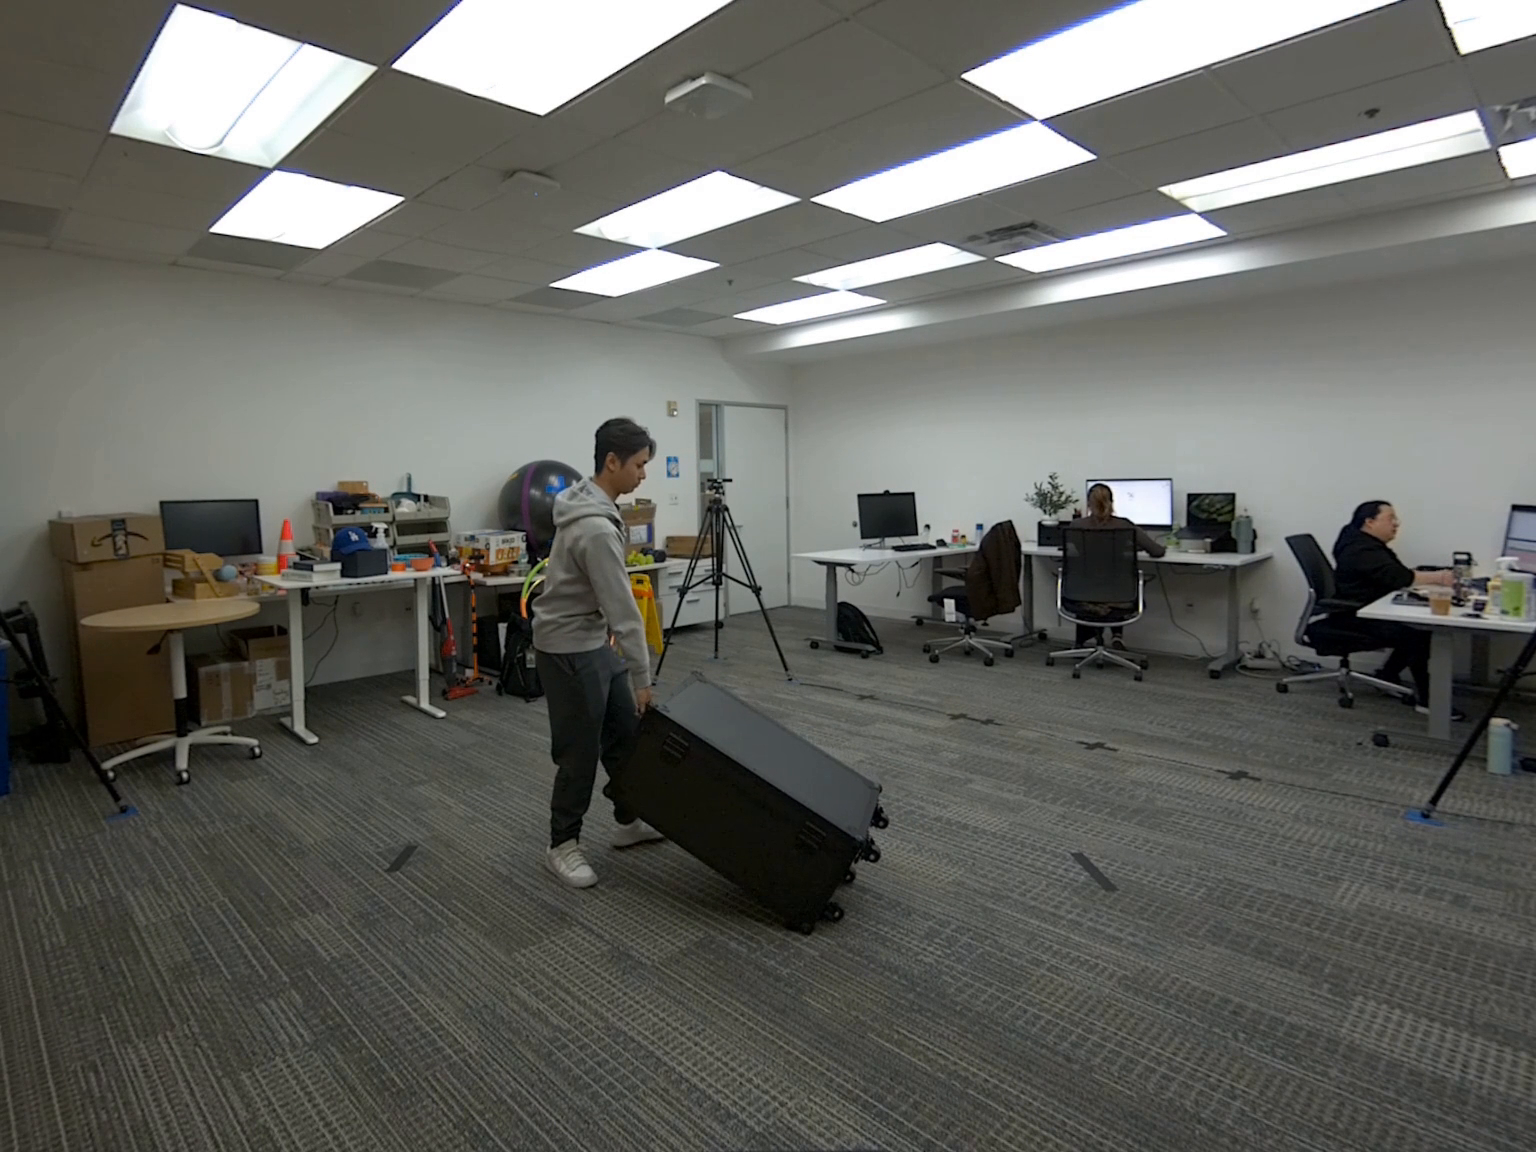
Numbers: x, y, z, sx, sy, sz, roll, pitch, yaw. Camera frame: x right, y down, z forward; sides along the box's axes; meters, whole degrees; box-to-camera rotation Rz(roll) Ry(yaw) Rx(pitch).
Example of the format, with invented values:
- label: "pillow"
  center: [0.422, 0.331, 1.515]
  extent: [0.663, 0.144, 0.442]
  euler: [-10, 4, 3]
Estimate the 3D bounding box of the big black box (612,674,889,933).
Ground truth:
- label: "big black box"
  center: [-0.049, 0.752, 2.882]
  extent: [0.876, 0.394, 0.515]
  euler: [30, 13, 12]
